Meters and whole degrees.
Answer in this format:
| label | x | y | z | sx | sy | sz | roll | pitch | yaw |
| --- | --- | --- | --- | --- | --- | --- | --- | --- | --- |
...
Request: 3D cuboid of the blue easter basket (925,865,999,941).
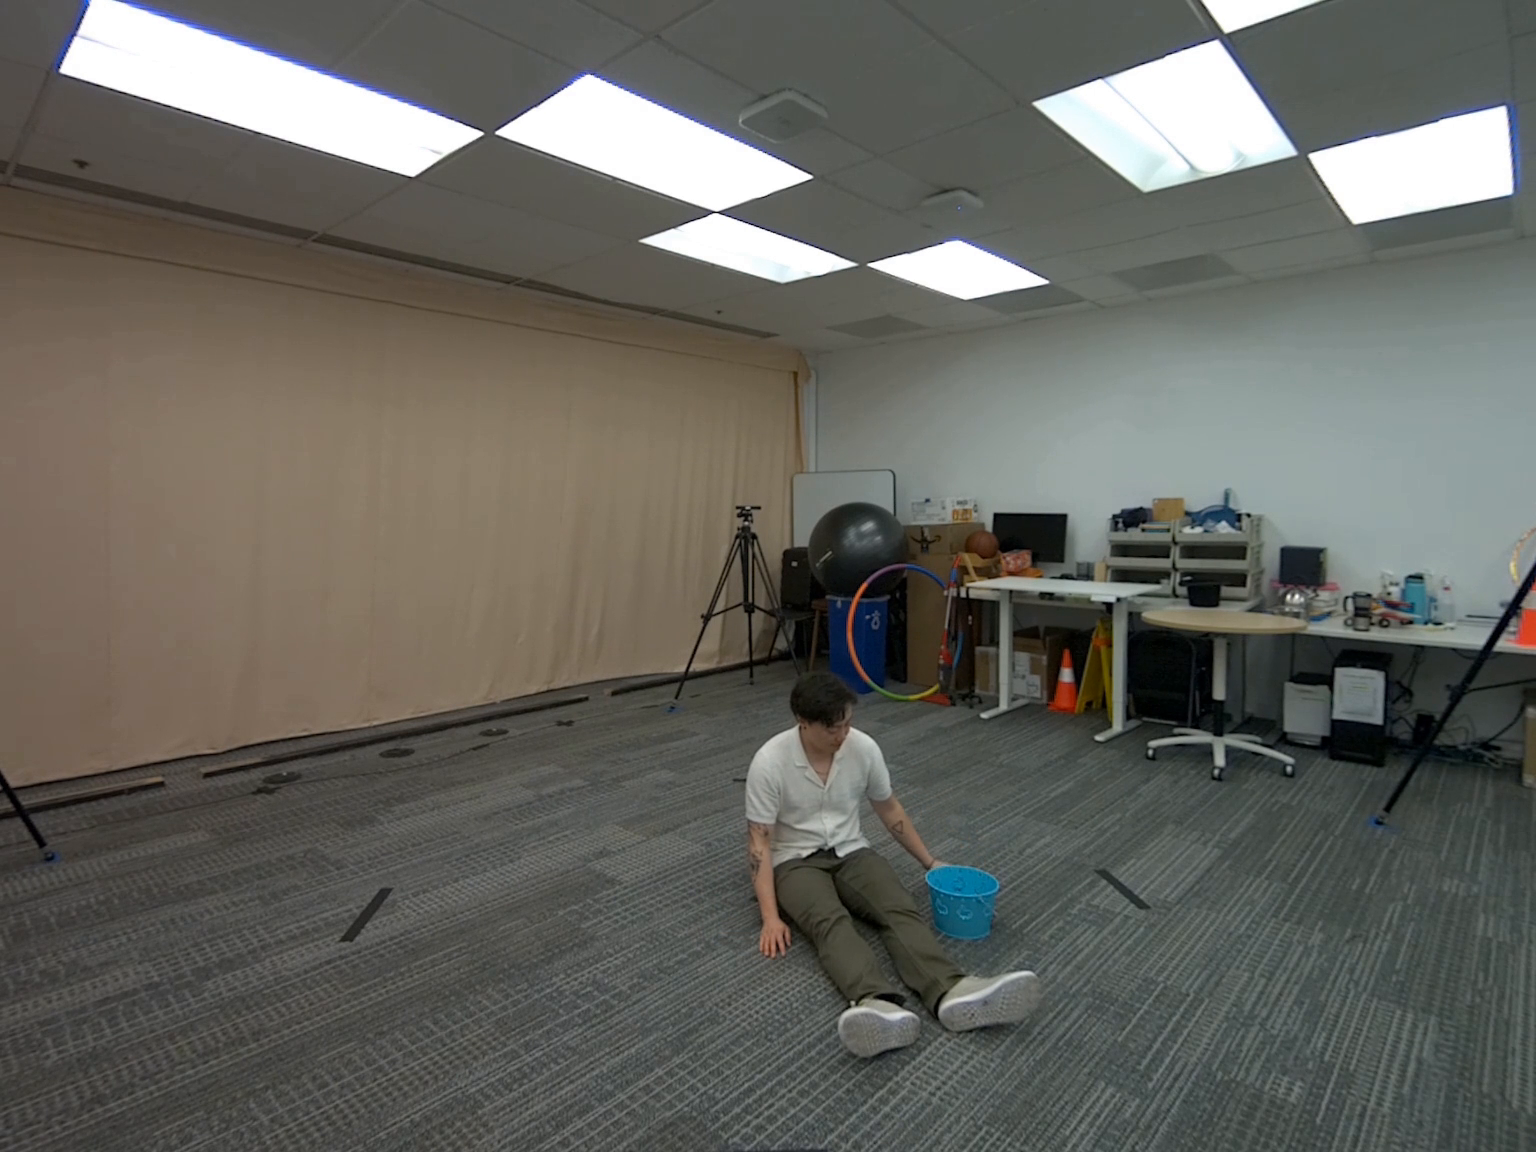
| label | x | y | z | sx | sy | sz | roll | pitch | yaw |
| --- | --- | --- | --- | --- | --- | --- | --- | --- | --- |
| blue easter basket | 0.655 | 1.084 | 2.778 | 0.243 | 0.155 | 0.244 | 0 | 4 | -2 |
